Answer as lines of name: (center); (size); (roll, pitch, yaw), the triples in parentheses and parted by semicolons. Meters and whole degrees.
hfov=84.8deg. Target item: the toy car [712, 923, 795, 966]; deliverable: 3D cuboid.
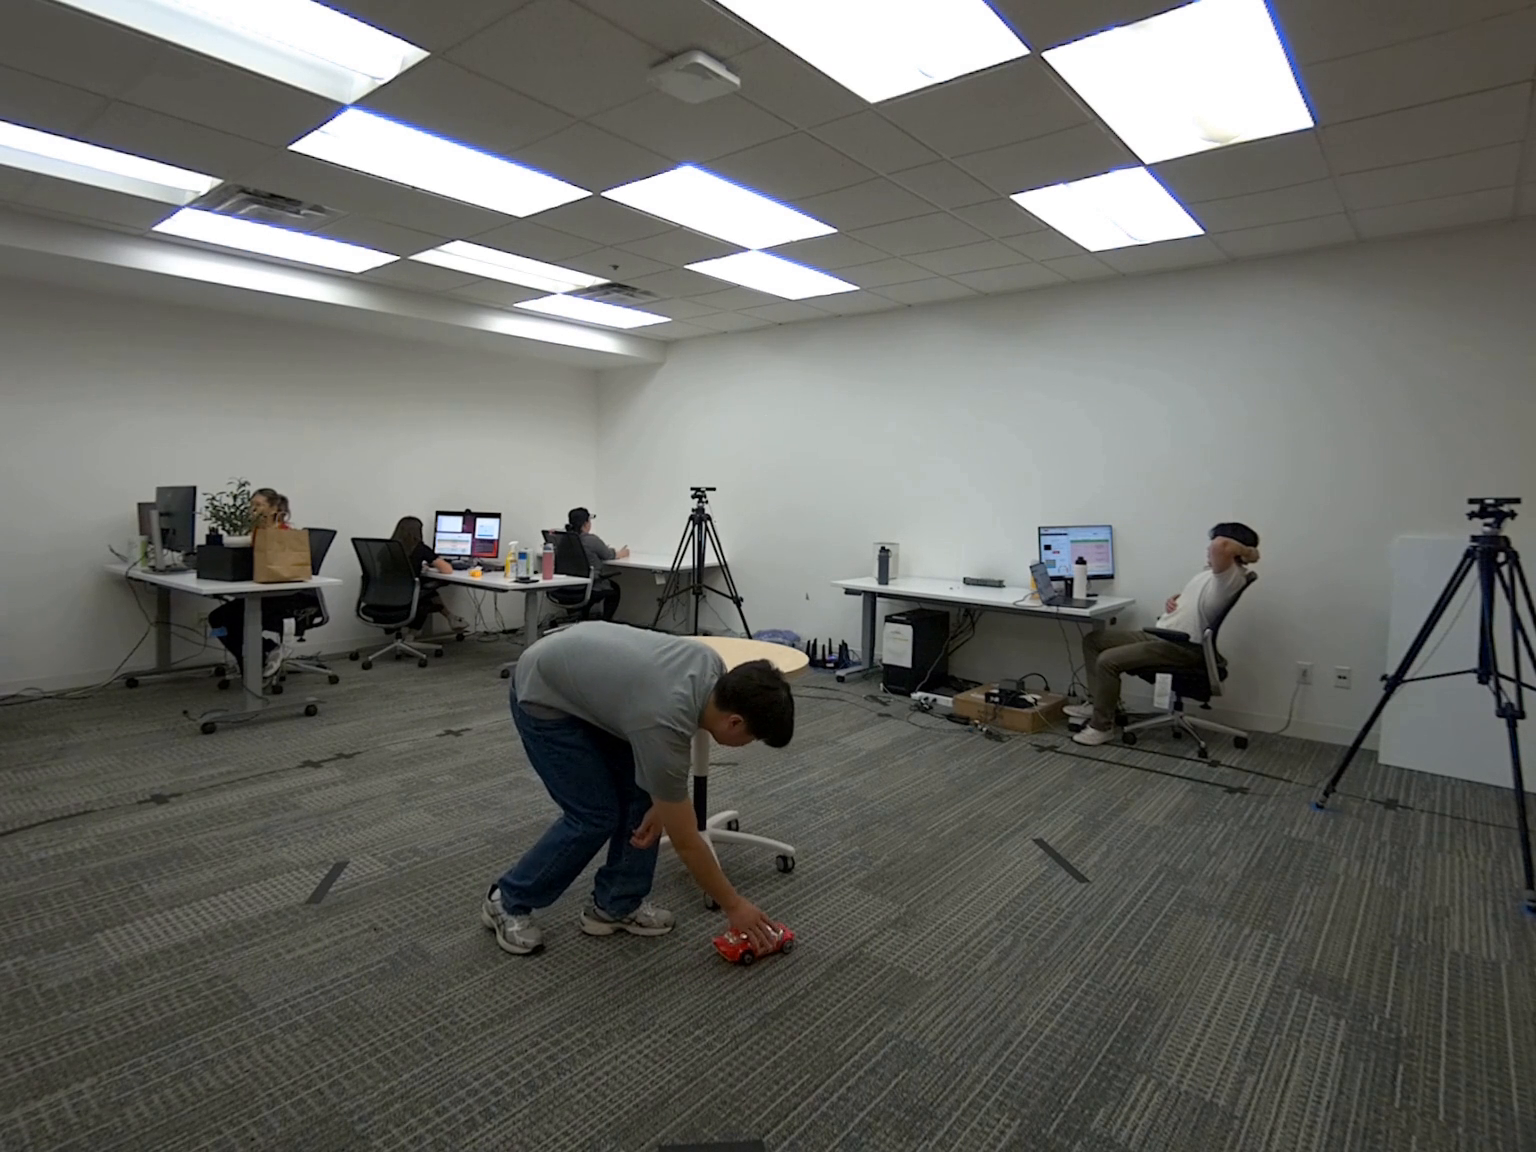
toy car: (-0.059, 1.099, 2.537); (0.247, 0.083, 0.134); (10, 0, -30)
